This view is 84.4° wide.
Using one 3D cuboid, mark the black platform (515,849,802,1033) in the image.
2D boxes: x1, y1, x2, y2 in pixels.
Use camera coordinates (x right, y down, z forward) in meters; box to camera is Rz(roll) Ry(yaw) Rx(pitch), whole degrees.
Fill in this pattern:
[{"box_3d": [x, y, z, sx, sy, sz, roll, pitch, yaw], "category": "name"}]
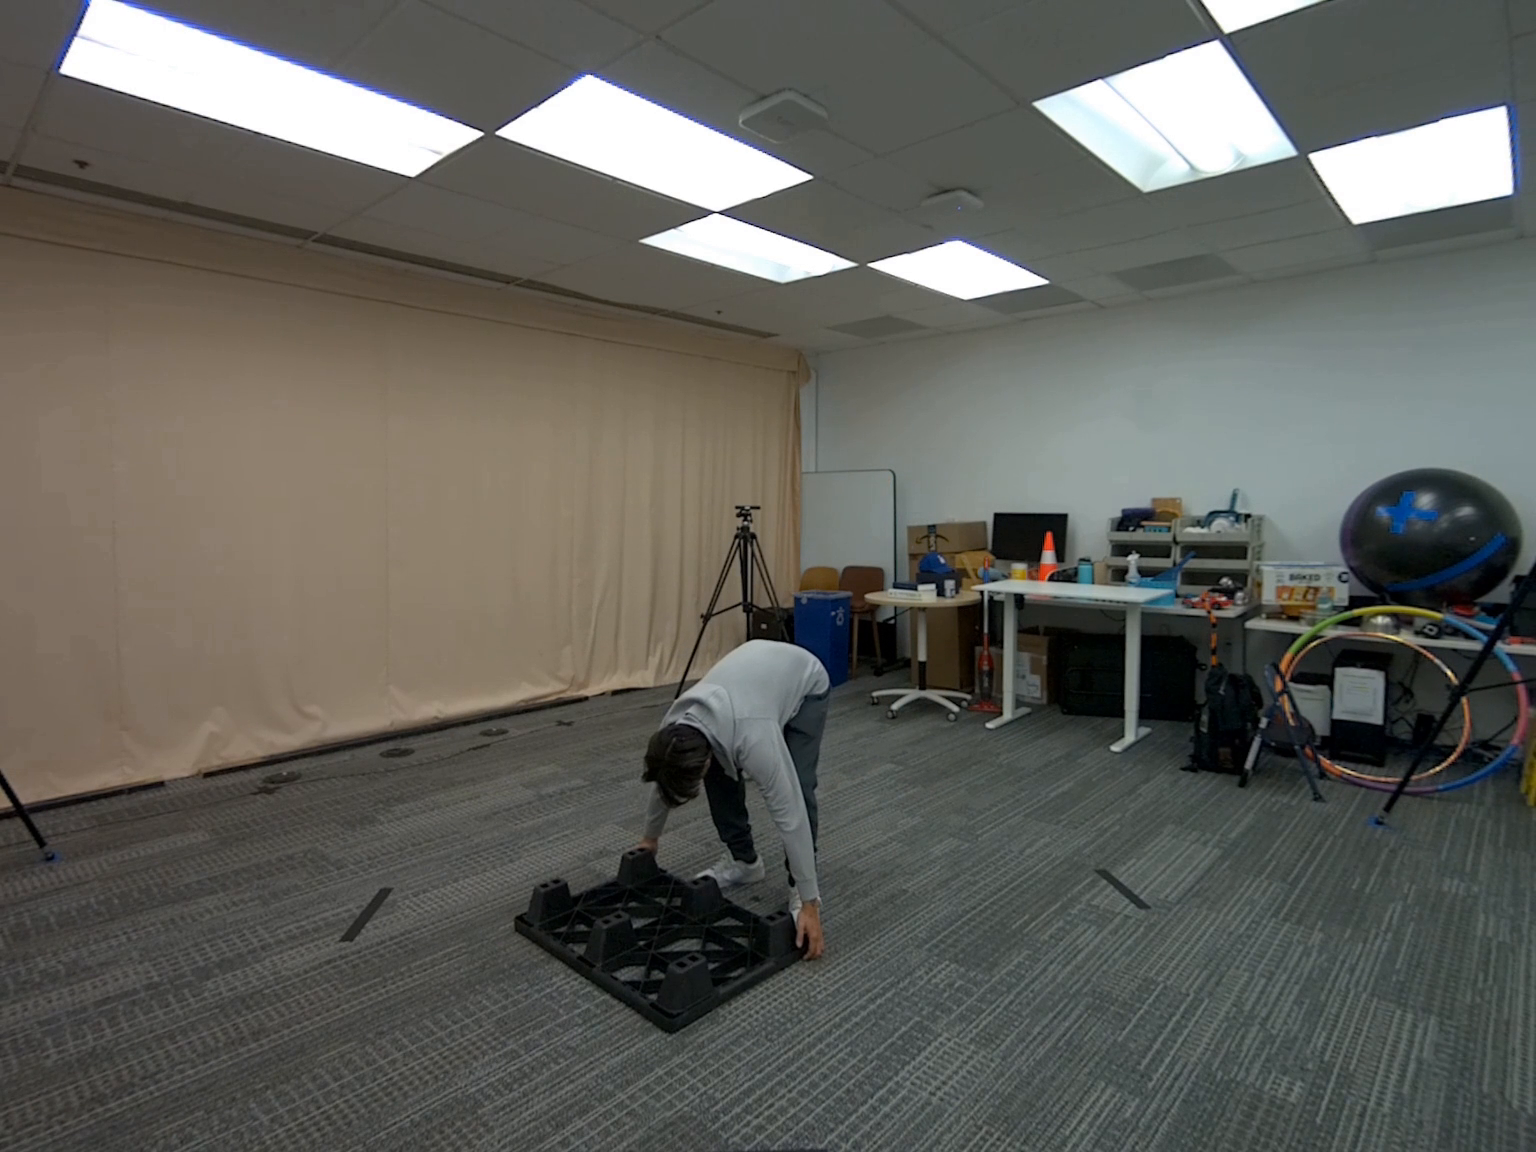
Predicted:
[{"box_3d": [-0.343, 1.107, 2.695, 0.832, 0.143, 0.587, 4, 7, 44], "category": "black platform"}]
